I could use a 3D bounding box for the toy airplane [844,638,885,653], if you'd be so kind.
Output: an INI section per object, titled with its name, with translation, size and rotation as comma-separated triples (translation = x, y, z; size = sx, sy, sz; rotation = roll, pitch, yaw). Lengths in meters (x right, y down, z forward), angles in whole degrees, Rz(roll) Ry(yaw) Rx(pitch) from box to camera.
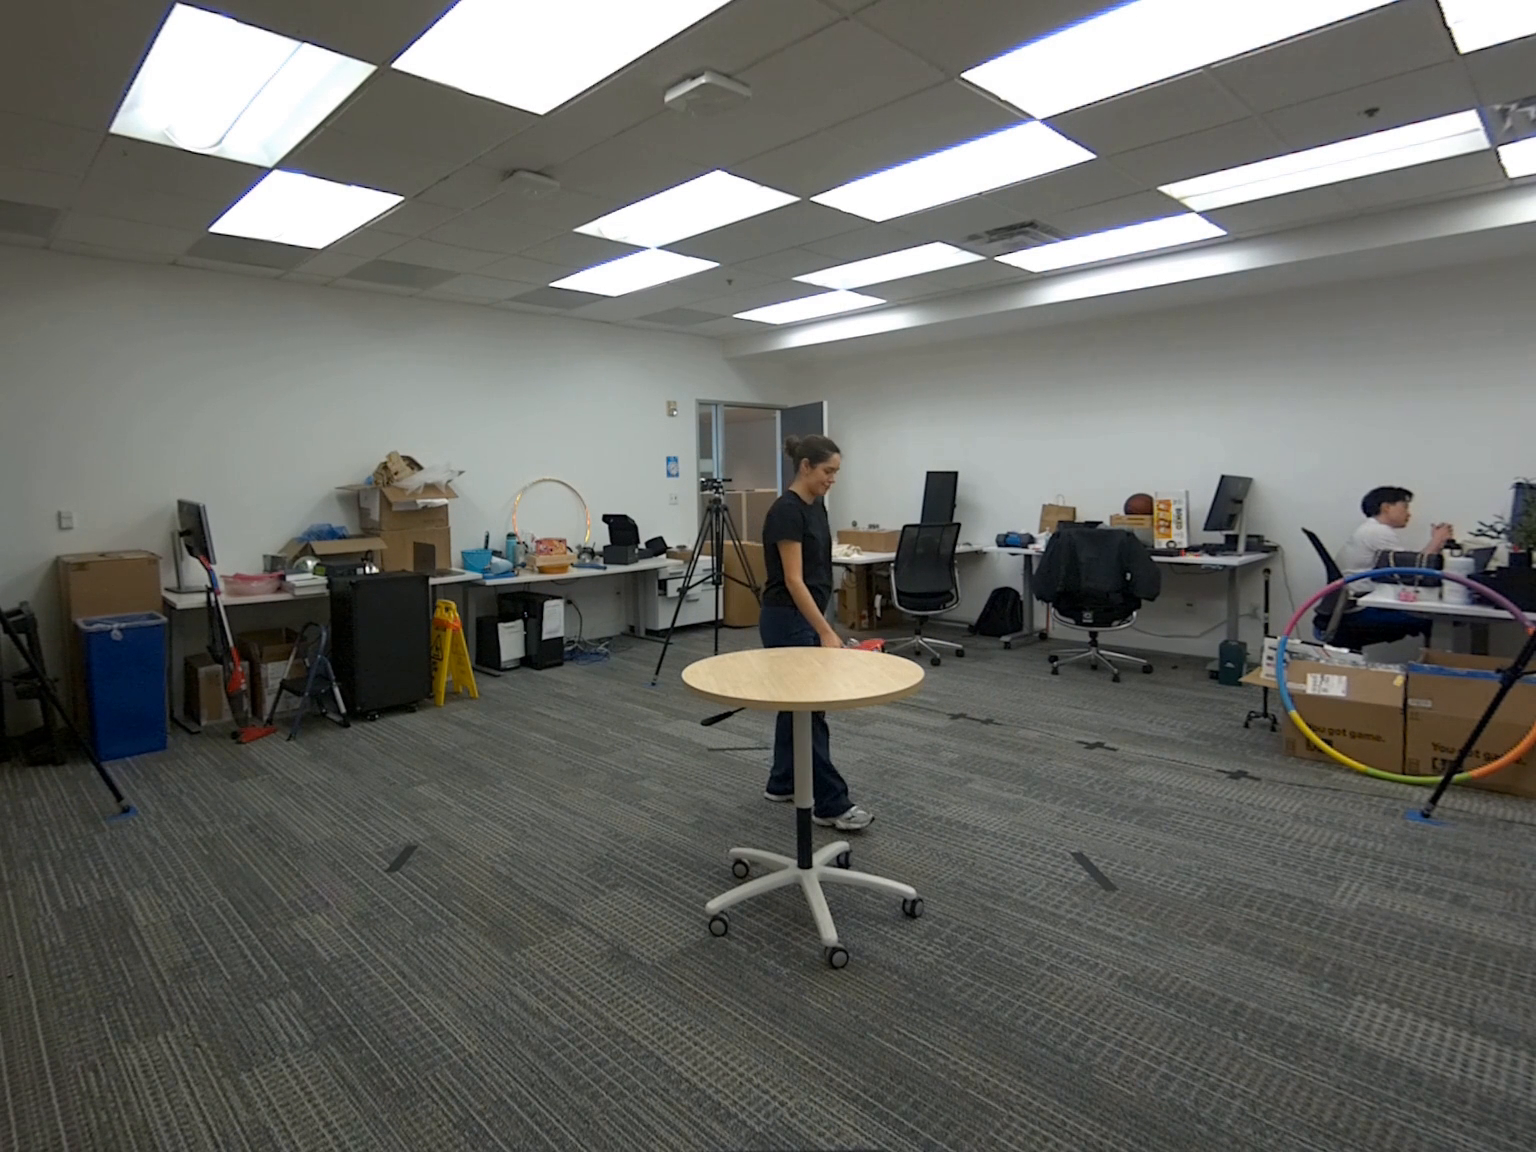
[toy airplane]
translation = 0.329, 0.327, 3.246
size = 0.262, 0.154, 0.252
rotation = 8, 18, 7
